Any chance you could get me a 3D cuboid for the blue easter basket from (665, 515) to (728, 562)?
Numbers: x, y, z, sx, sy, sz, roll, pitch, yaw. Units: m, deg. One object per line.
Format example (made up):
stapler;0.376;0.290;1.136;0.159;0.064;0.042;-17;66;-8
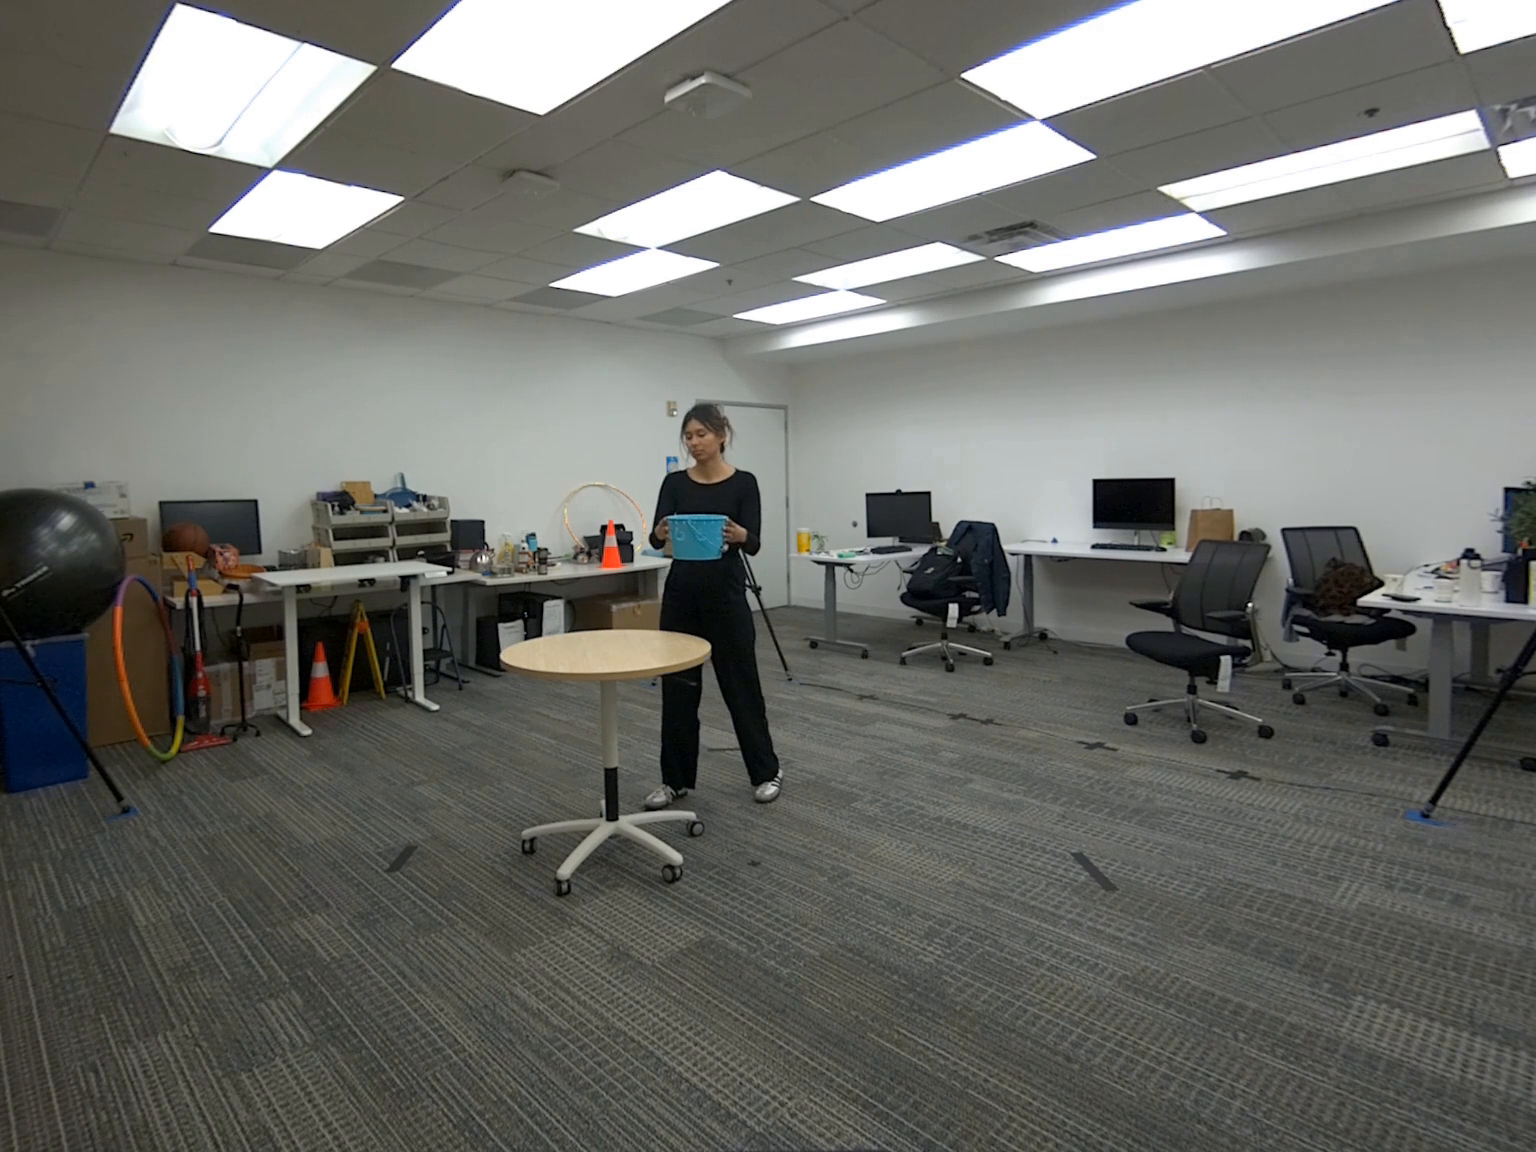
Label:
blue easter basket;-0.259;-0.142;3.203;0.243;0.155;0.245;-1;5;-2
